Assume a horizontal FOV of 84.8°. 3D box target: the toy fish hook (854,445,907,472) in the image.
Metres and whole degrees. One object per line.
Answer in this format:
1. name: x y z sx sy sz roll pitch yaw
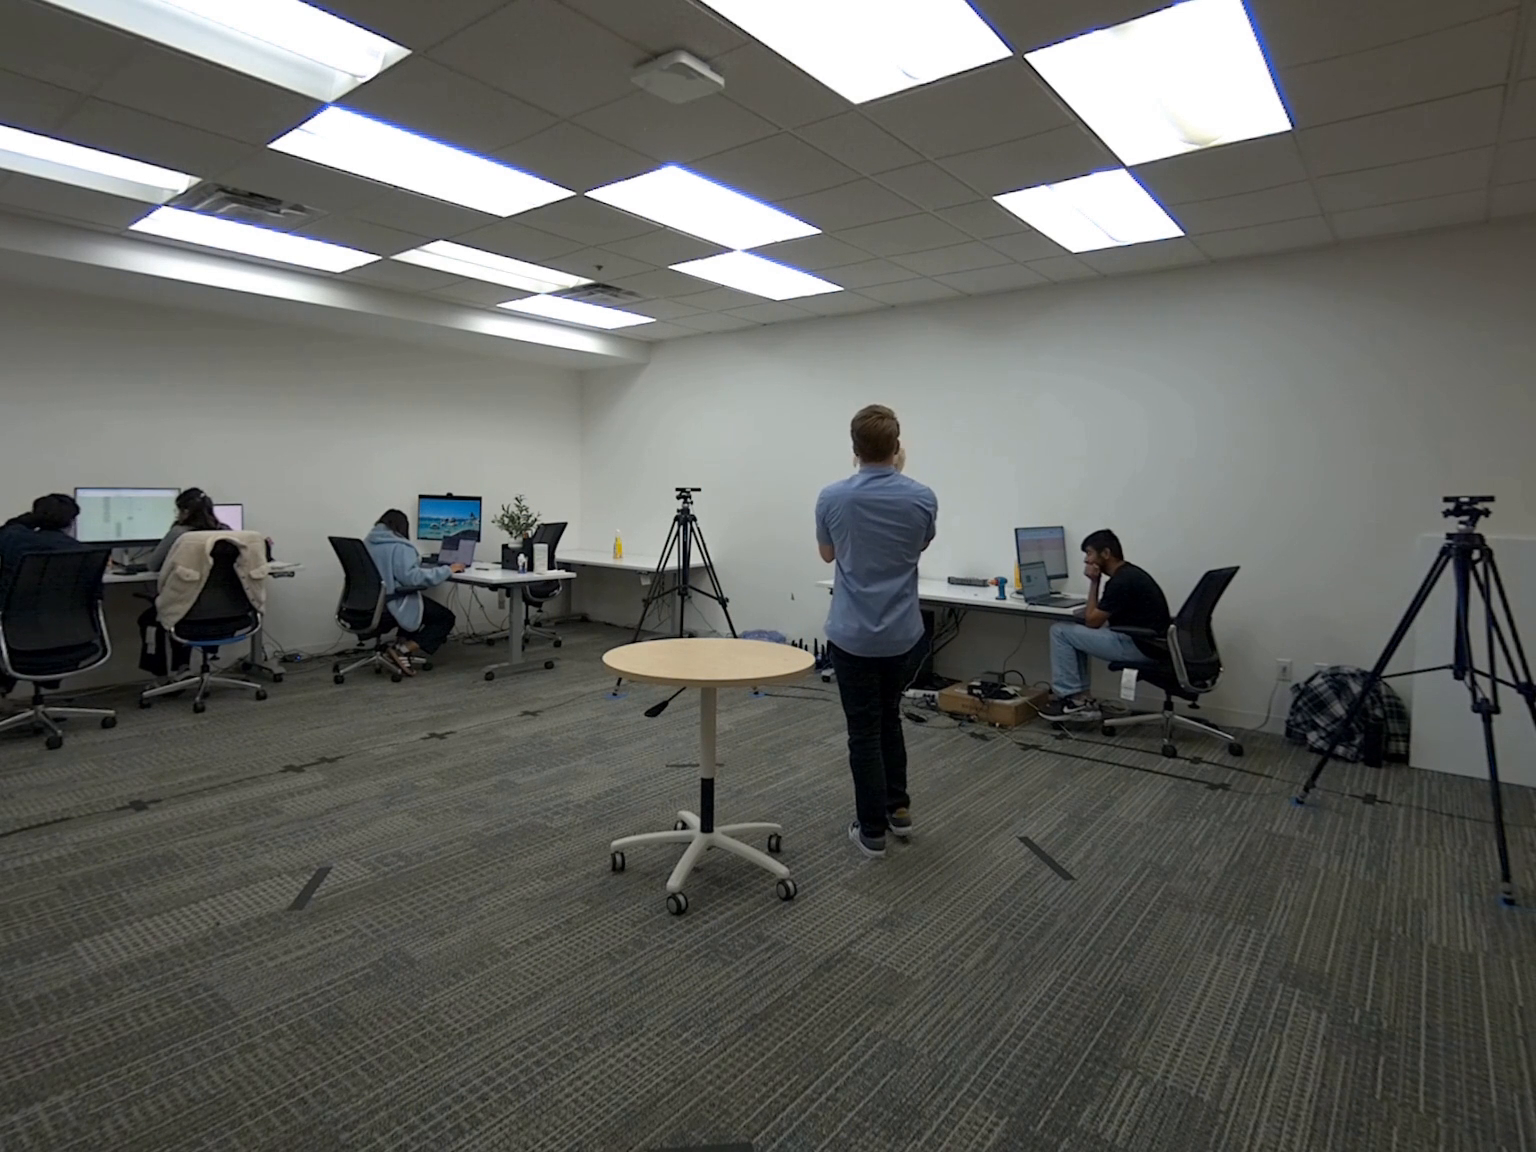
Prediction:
1. toy fish hook: 0.404 -0.384 3.716 0.233 0.504 0.047 37 15 30
